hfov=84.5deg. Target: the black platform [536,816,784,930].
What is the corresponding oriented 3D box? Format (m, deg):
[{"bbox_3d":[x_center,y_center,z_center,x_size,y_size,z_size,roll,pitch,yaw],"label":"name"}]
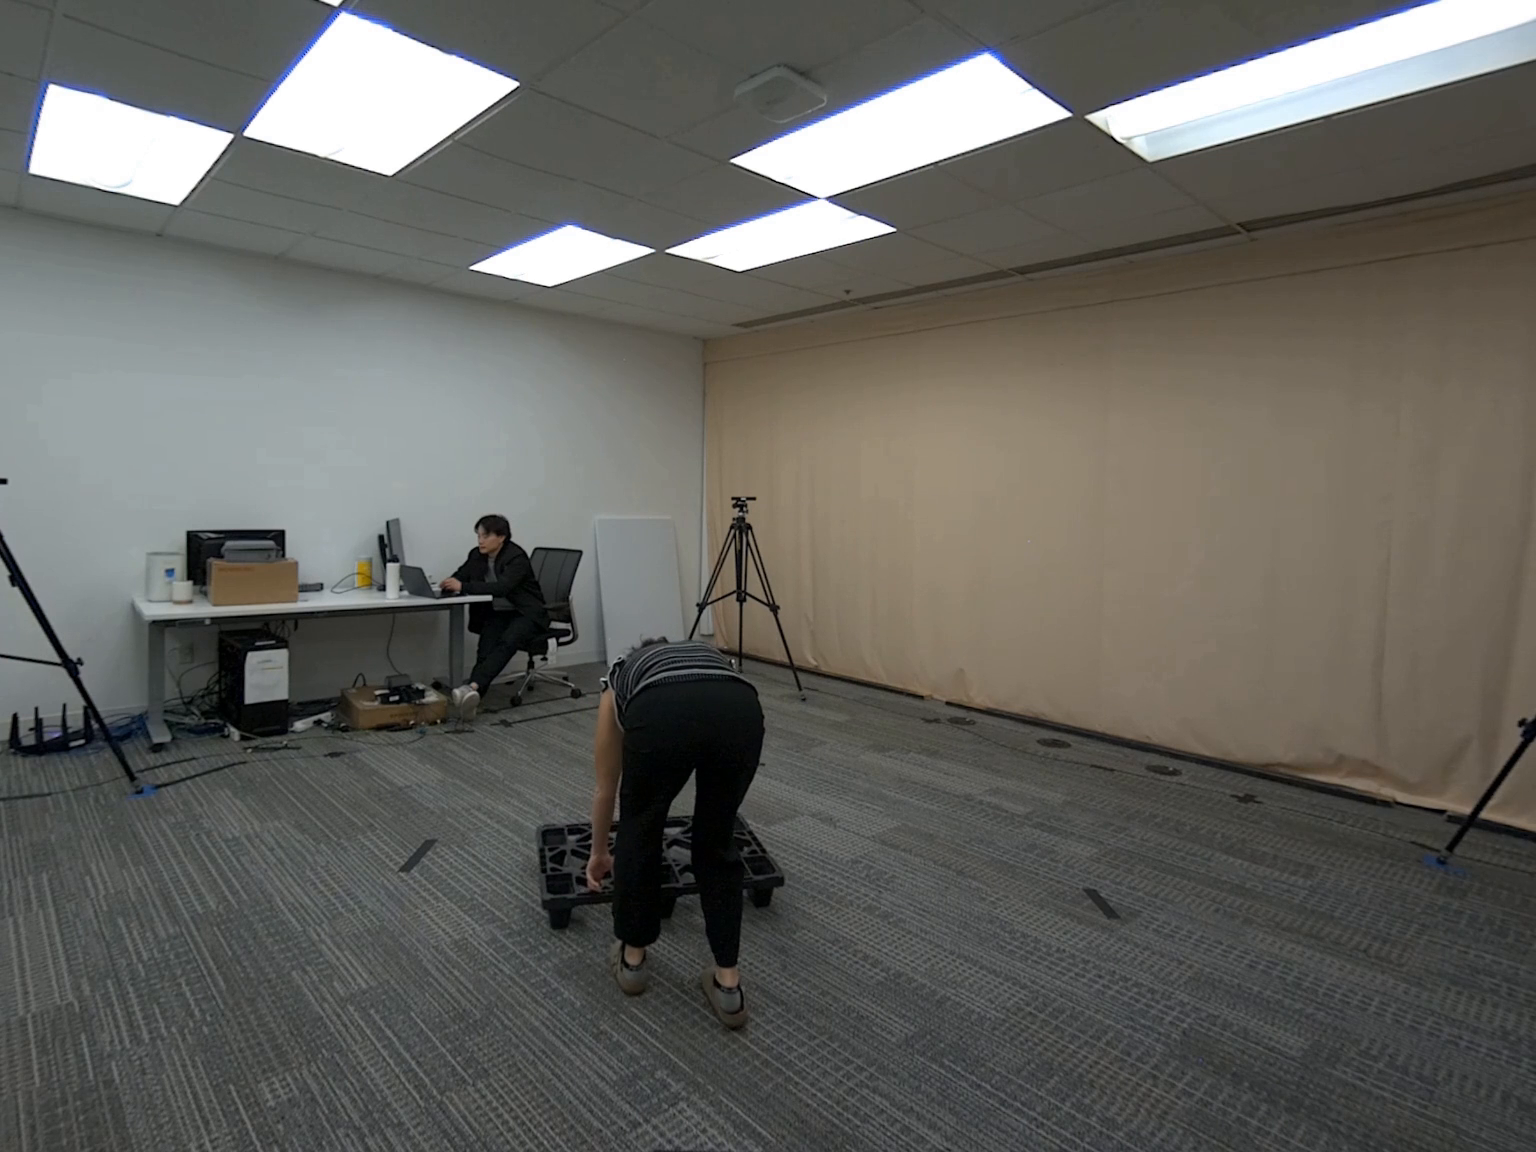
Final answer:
[{"bbox_3d":[-0.418,1.040,3.006,0.796,0.143,0.614,0,5,-16],"label":"black platform"}]
